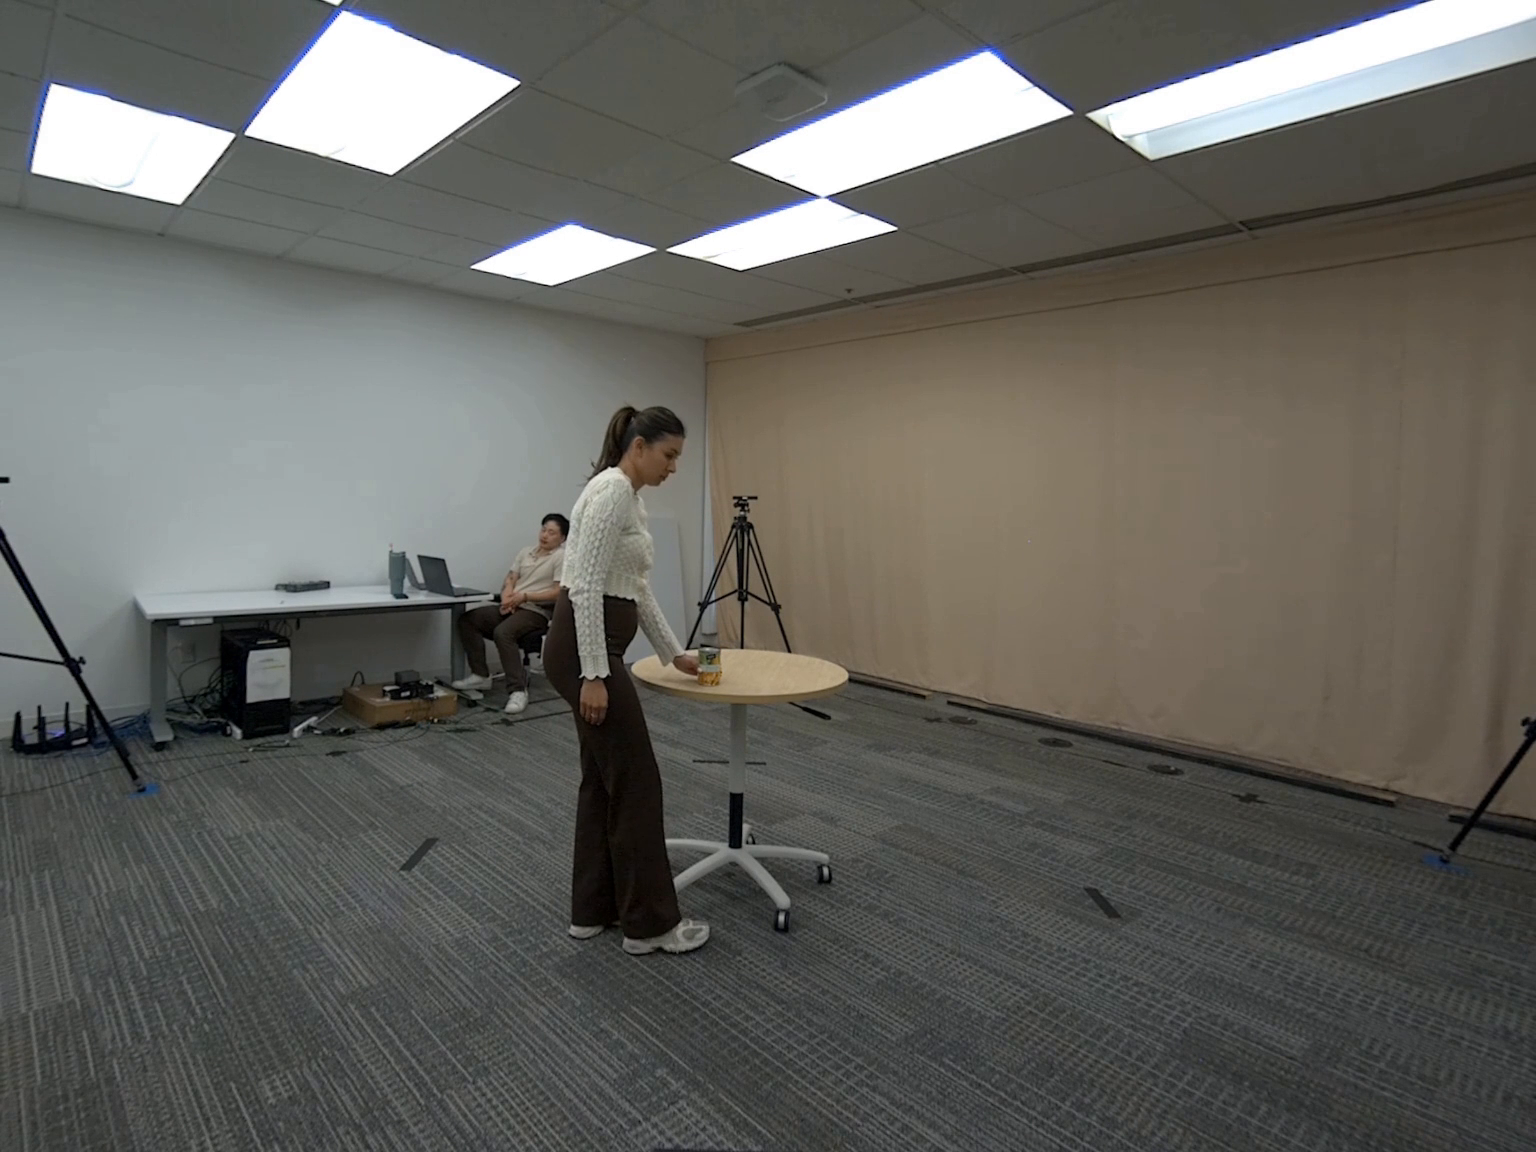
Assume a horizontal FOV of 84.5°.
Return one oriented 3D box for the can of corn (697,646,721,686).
[{"bbox_3d":[-0.202,0.296,2.742,0.074,0.111,0.074,1,3,-1],"label":"can of corn"}]
